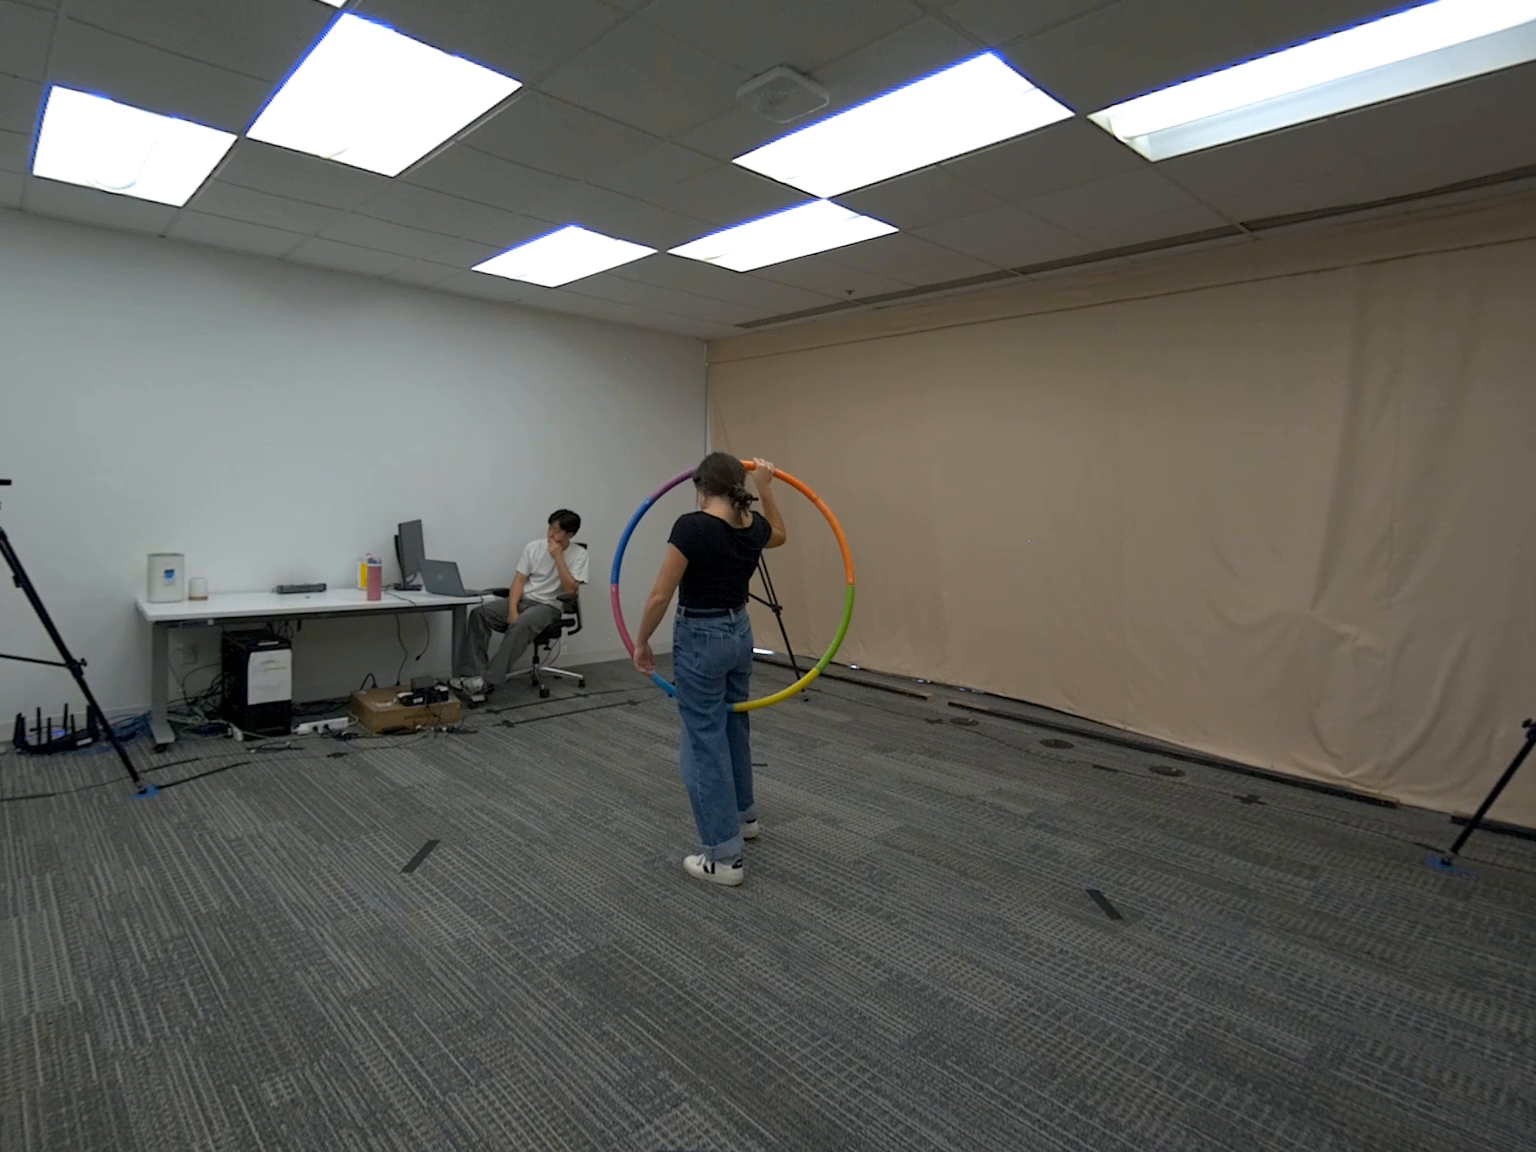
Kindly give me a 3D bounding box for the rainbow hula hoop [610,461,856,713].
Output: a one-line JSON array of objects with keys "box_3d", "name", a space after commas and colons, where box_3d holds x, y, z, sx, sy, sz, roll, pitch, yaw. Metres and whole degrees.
[{"box_3d": [-0.140, 0.025, 3.343, 0.974, 0.982, 0.035, 1, -6, -5], "name": "rainbow hula hoop"}]
